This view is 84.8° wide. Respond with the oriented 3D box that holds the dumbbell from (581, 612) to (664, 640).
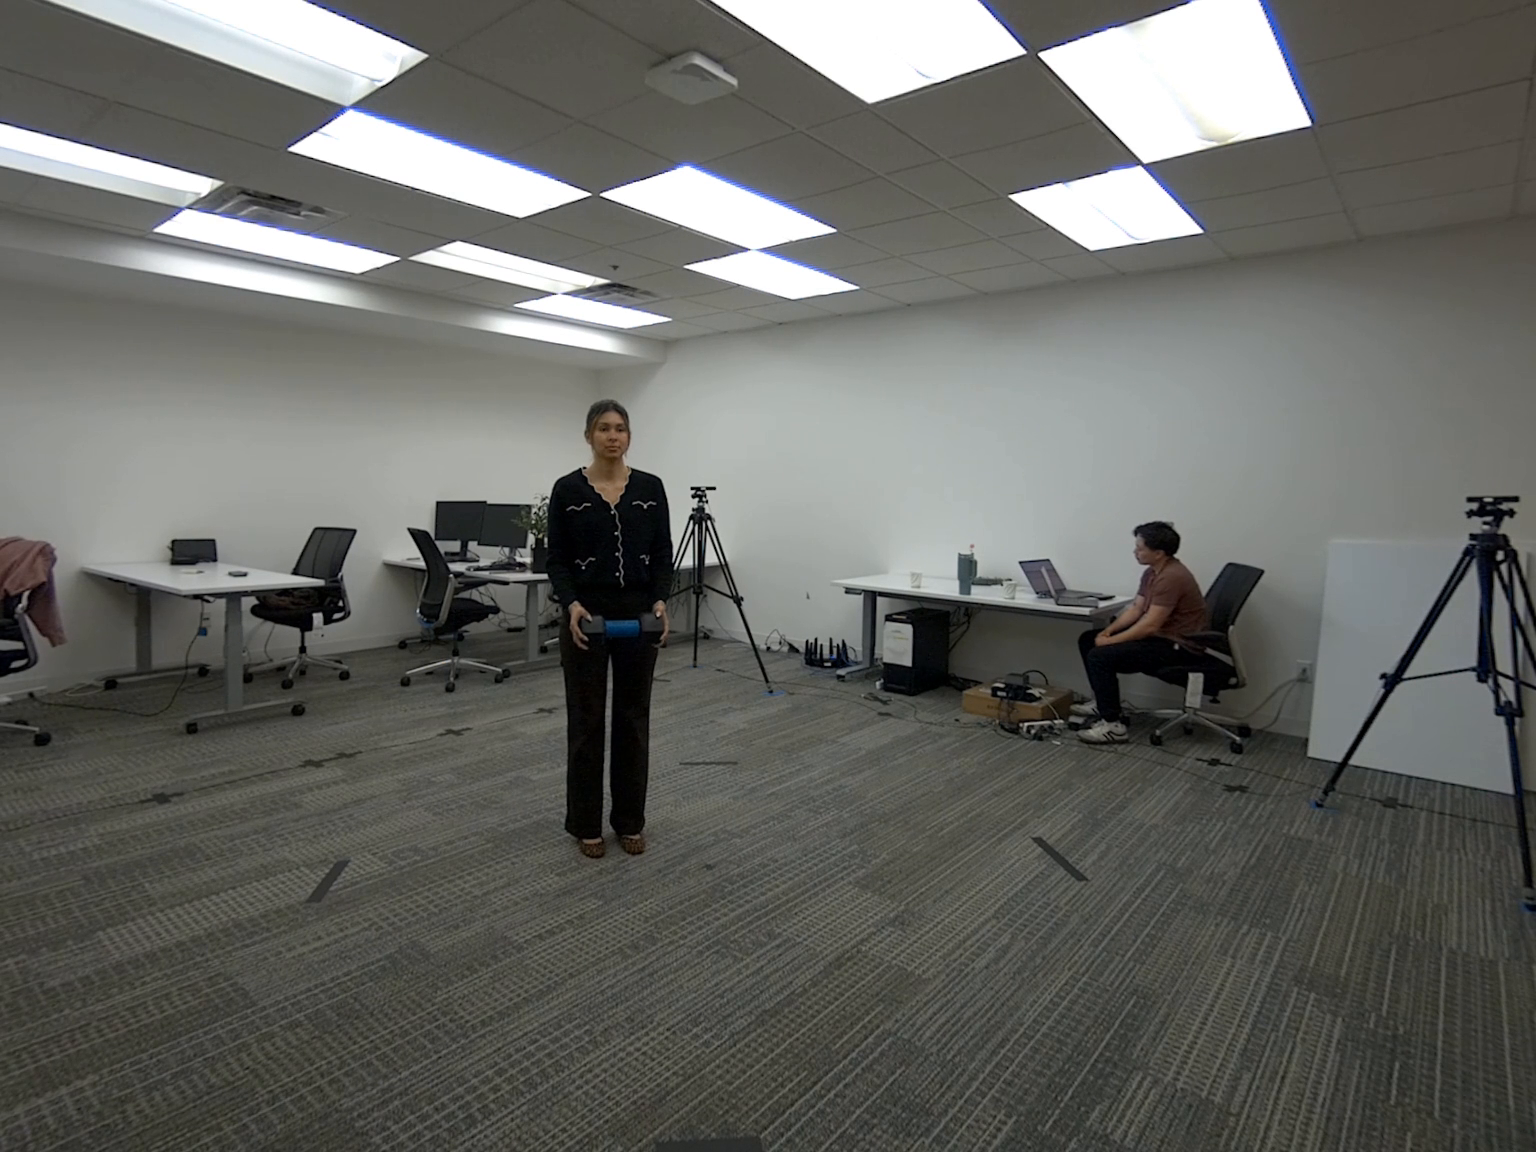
[{"bbox_3d":[-0.549,0.177,3.041,0.290,0.125,0.108,-1,-19,-11],"label":"dumbbell"}]
